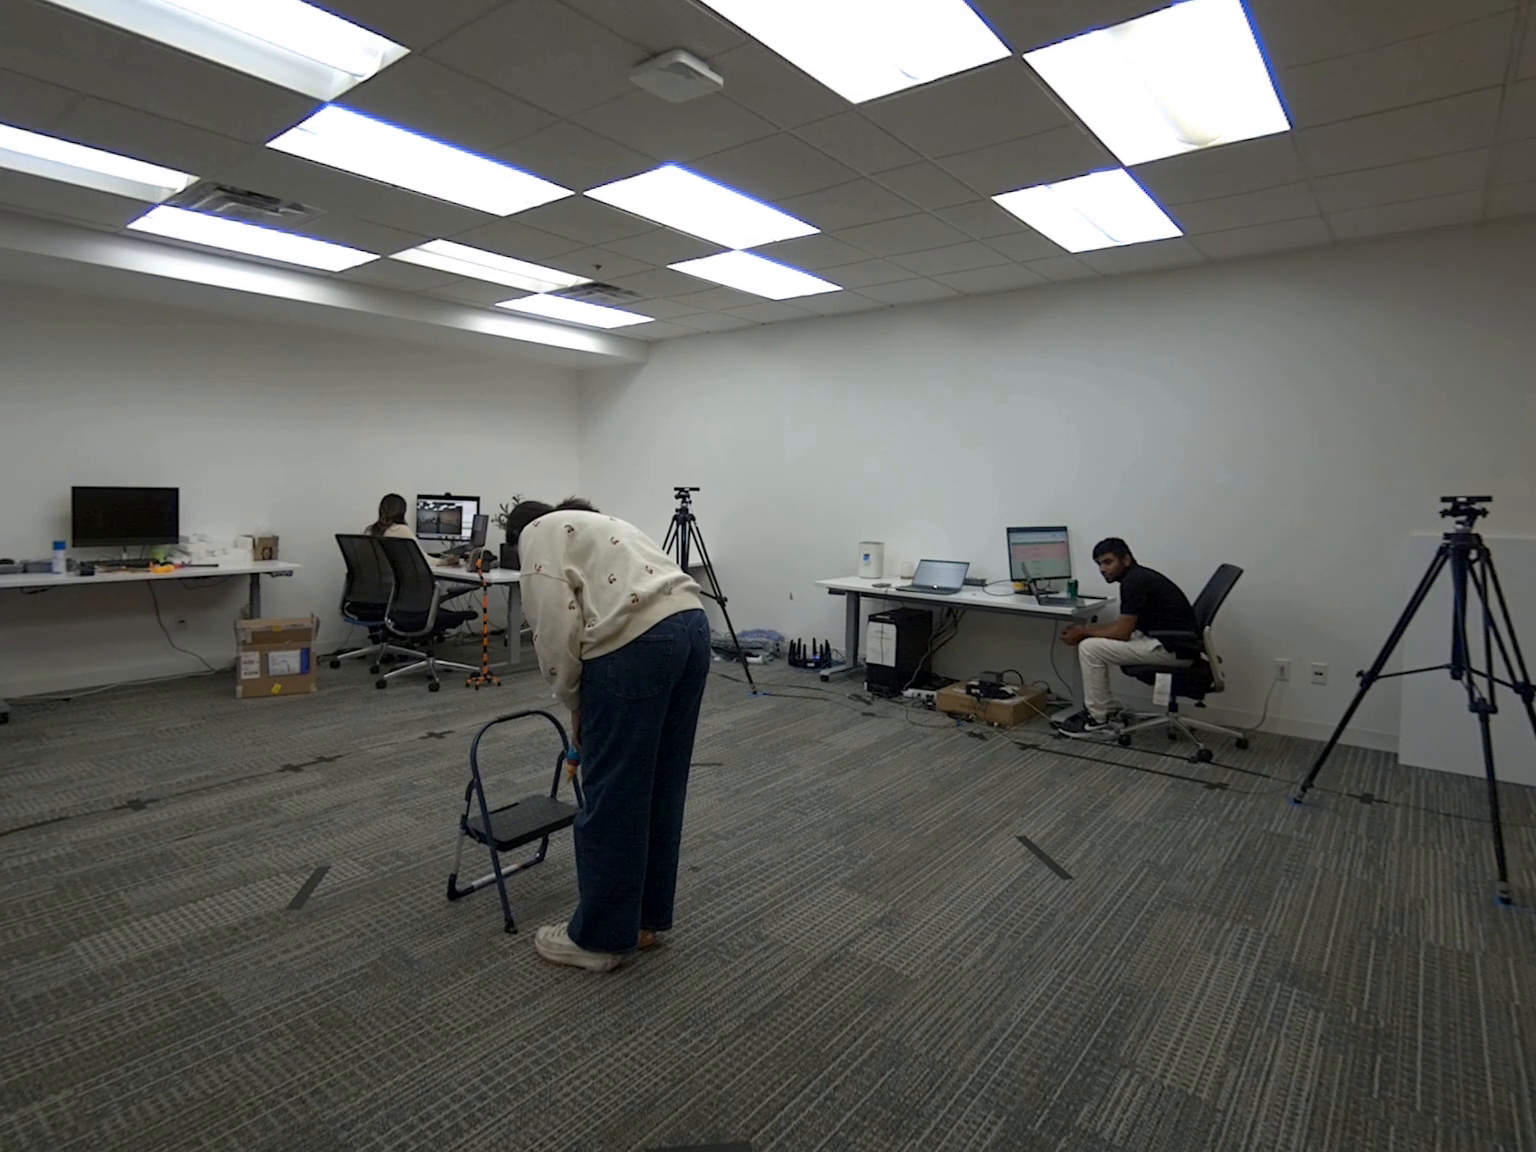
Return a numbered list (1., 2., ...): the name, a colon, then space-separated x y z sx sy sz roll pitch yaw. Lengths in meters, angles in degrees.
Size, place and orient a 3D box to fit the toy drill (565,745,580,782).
1. toy drill: -0.621 0.590 2.785 0.059 0.172 0.150 27 -23 -35
